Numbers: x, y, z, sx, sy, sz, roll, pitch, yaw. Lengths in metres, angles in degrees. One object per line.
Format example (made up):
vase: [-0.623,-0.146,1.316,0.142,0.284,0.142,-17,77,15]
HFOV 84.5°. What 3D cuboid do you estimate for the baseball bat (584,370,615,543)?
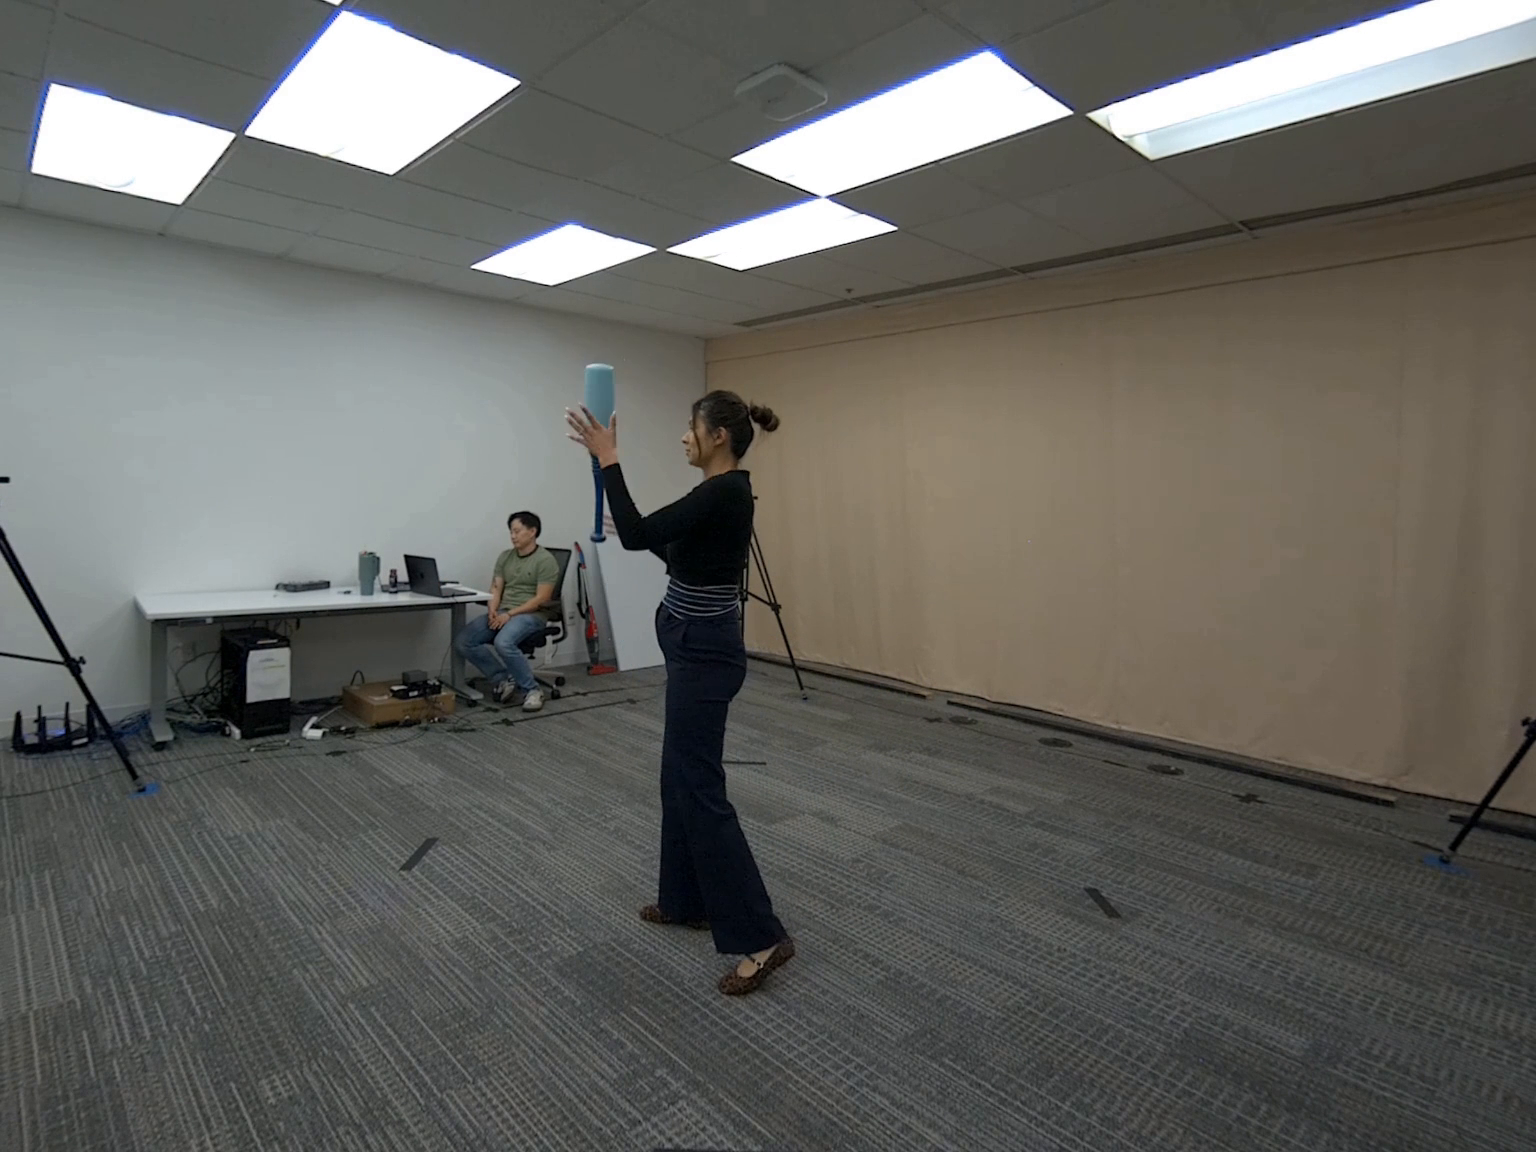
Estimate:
baseball bat: [-0.508,-0.316,2.546,0.089,0.538,0.090,3,14,-2]
